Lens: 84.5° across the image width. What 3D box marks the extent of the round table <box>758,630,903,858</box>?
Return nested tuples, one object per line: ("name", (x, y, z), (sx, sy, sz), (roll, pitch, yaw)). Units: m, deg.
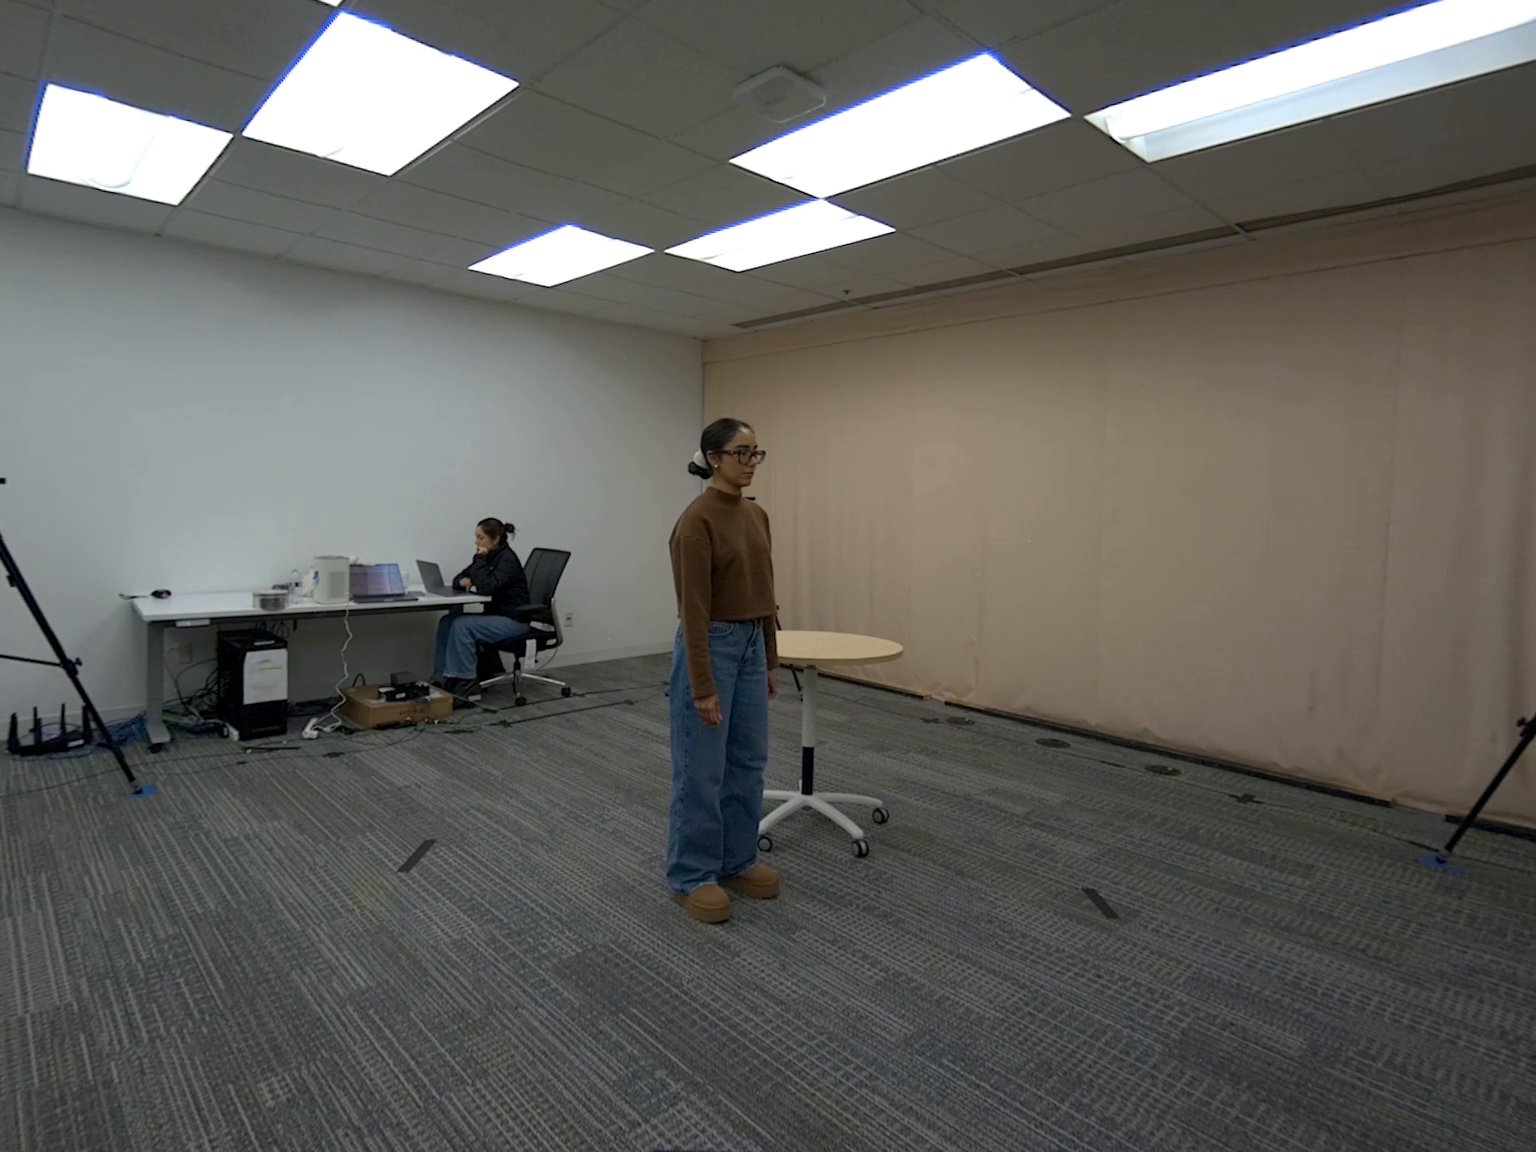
("round table", (0.175, 0.679, 3.570), (0.784, 0.785, 0.787), (1, 3, -1))
